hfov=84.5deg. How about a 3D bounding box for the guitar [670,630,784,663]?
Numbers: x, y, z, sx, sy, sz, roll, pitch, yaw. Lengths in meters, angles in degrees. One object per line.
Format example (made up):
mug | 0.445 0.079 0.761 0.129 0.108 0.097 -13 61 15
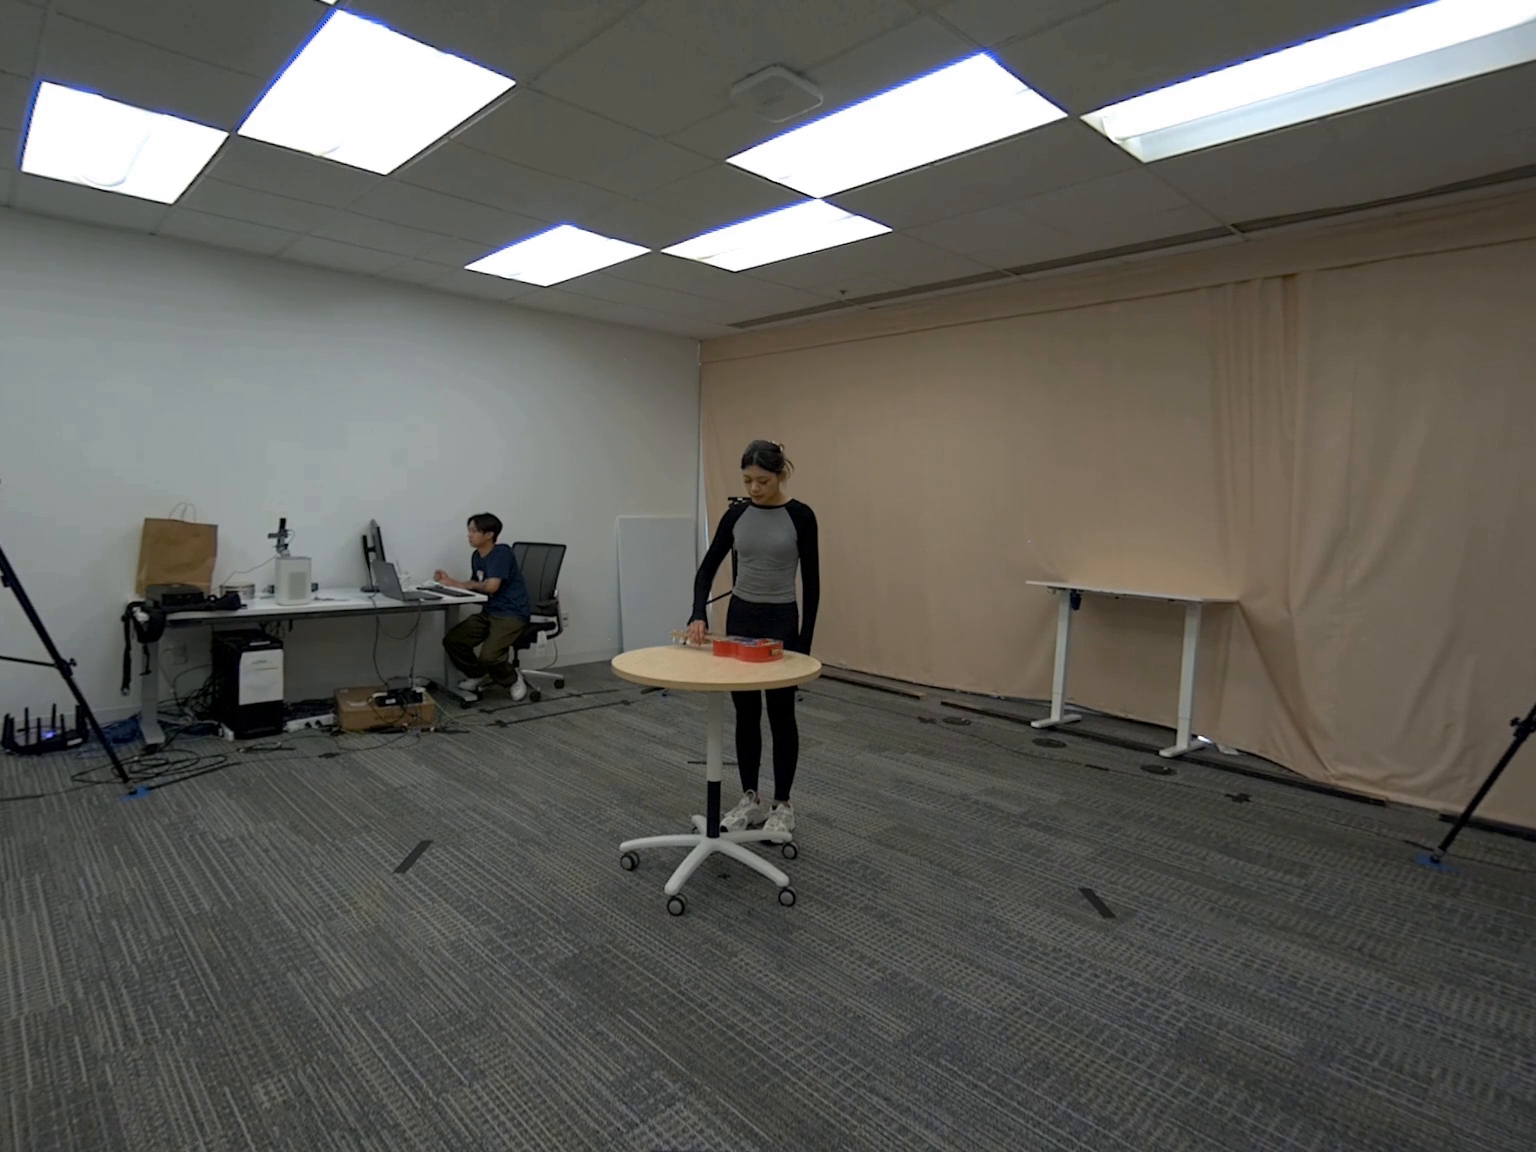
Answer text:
guitar | -0.174 0.266 3.293 0.510 0.070 0.188 4 5 41
